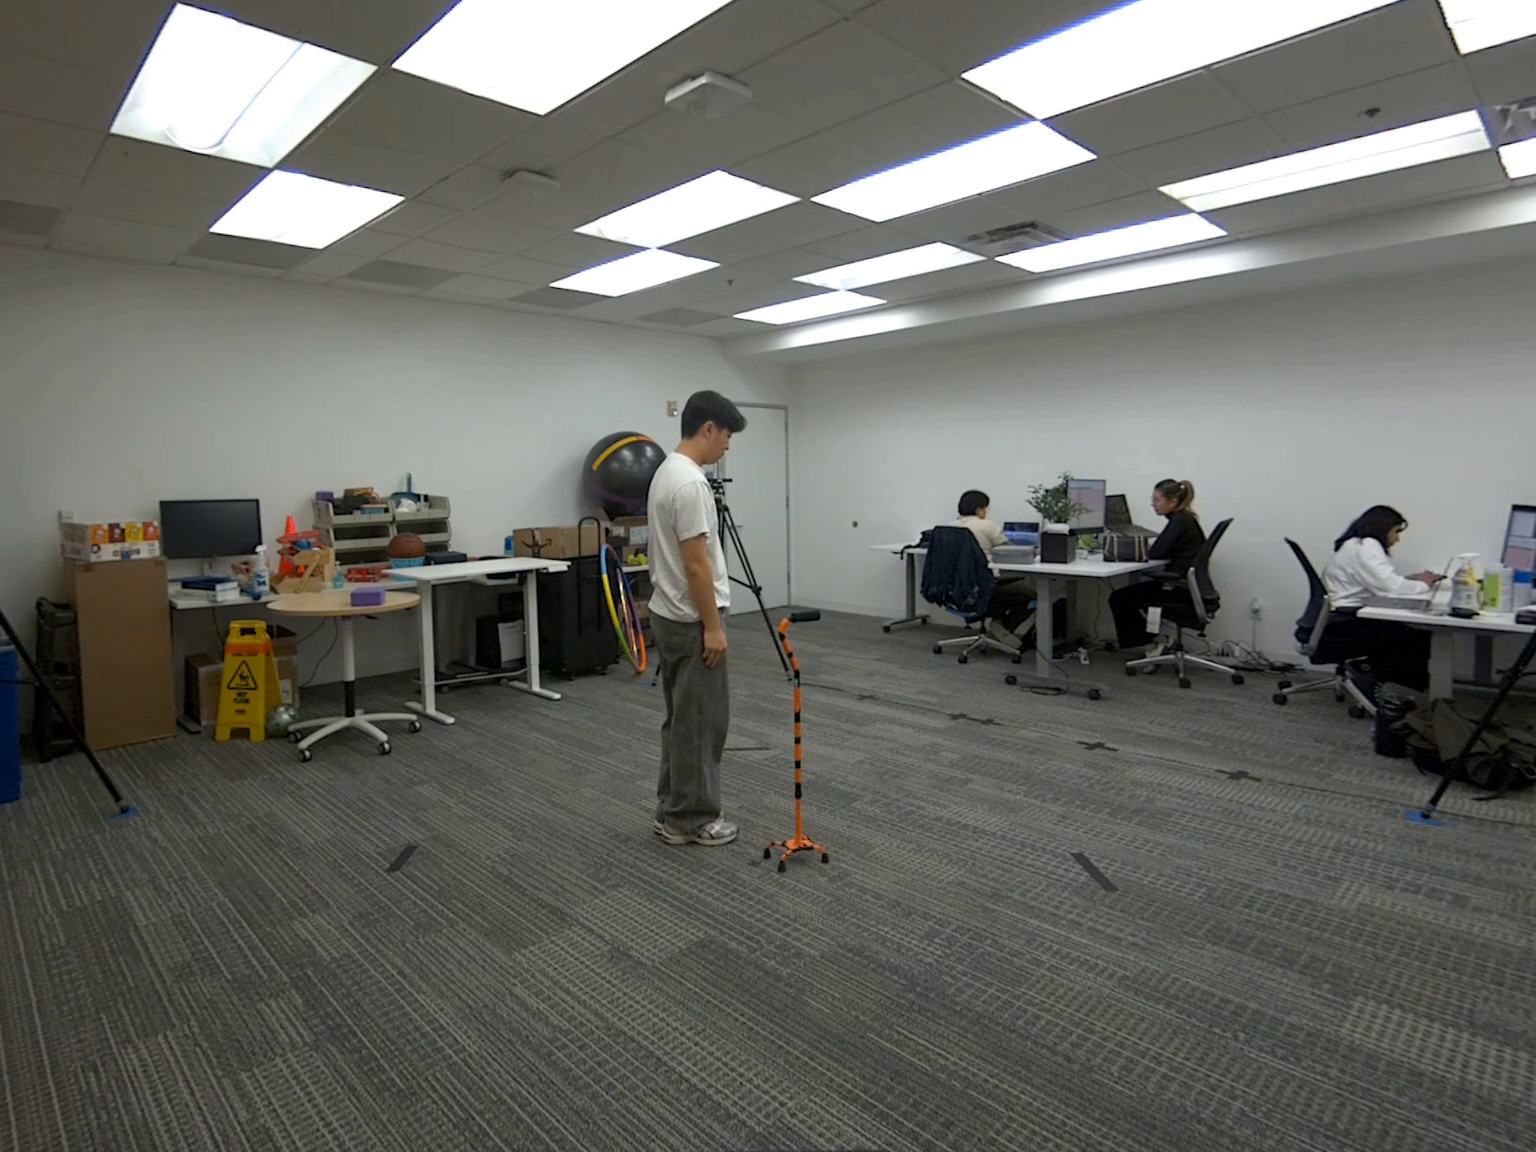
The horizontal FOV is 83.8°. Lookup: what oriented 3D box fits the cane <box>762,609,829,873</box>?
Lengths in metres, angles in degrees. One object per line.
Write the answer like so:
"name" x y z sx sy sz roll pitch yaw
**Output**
"cane" 0.100 0.590 3.113 0.202 0.905 0.155 -2 3 -24
